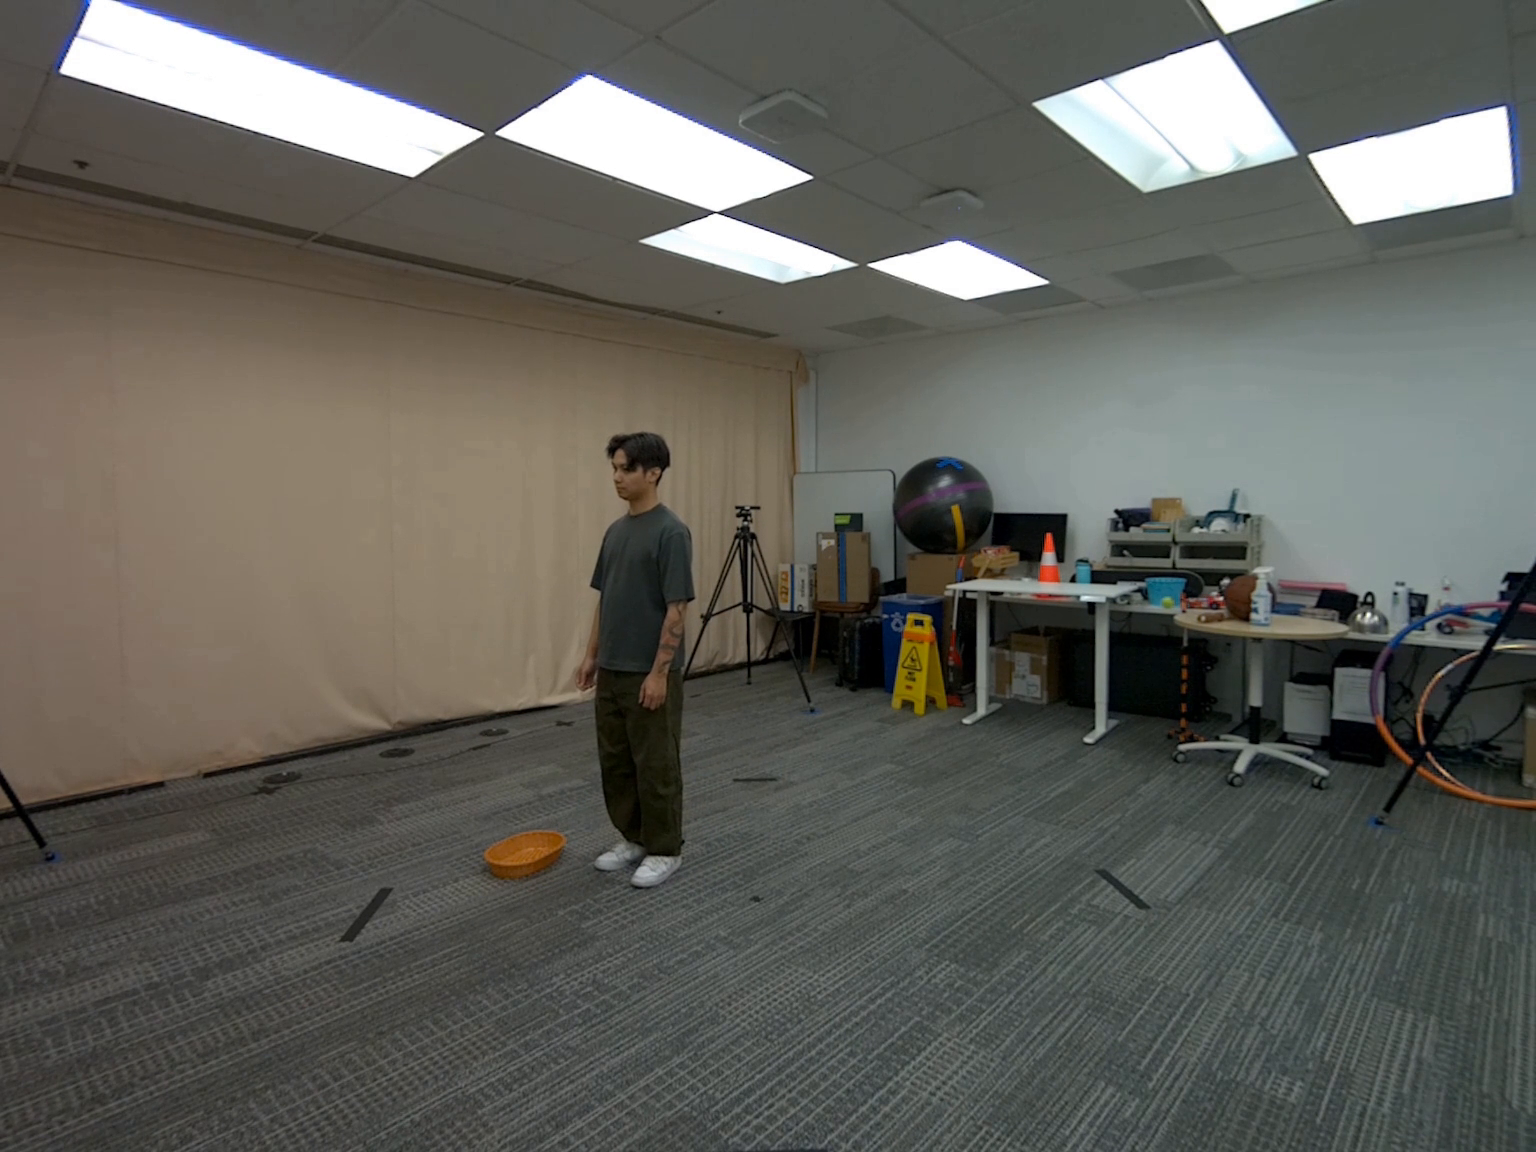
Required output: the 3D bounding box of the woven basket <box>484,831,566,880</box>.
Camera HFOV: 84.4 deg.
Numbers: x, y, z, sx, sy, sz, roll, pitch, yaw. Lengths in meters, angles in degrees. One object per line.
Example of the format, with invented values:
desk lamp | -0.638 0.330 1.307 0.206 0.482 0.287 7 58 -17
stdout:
woven basket | -0.951 1.096 3.299 0.260 0.073 0.340 2 5 33
